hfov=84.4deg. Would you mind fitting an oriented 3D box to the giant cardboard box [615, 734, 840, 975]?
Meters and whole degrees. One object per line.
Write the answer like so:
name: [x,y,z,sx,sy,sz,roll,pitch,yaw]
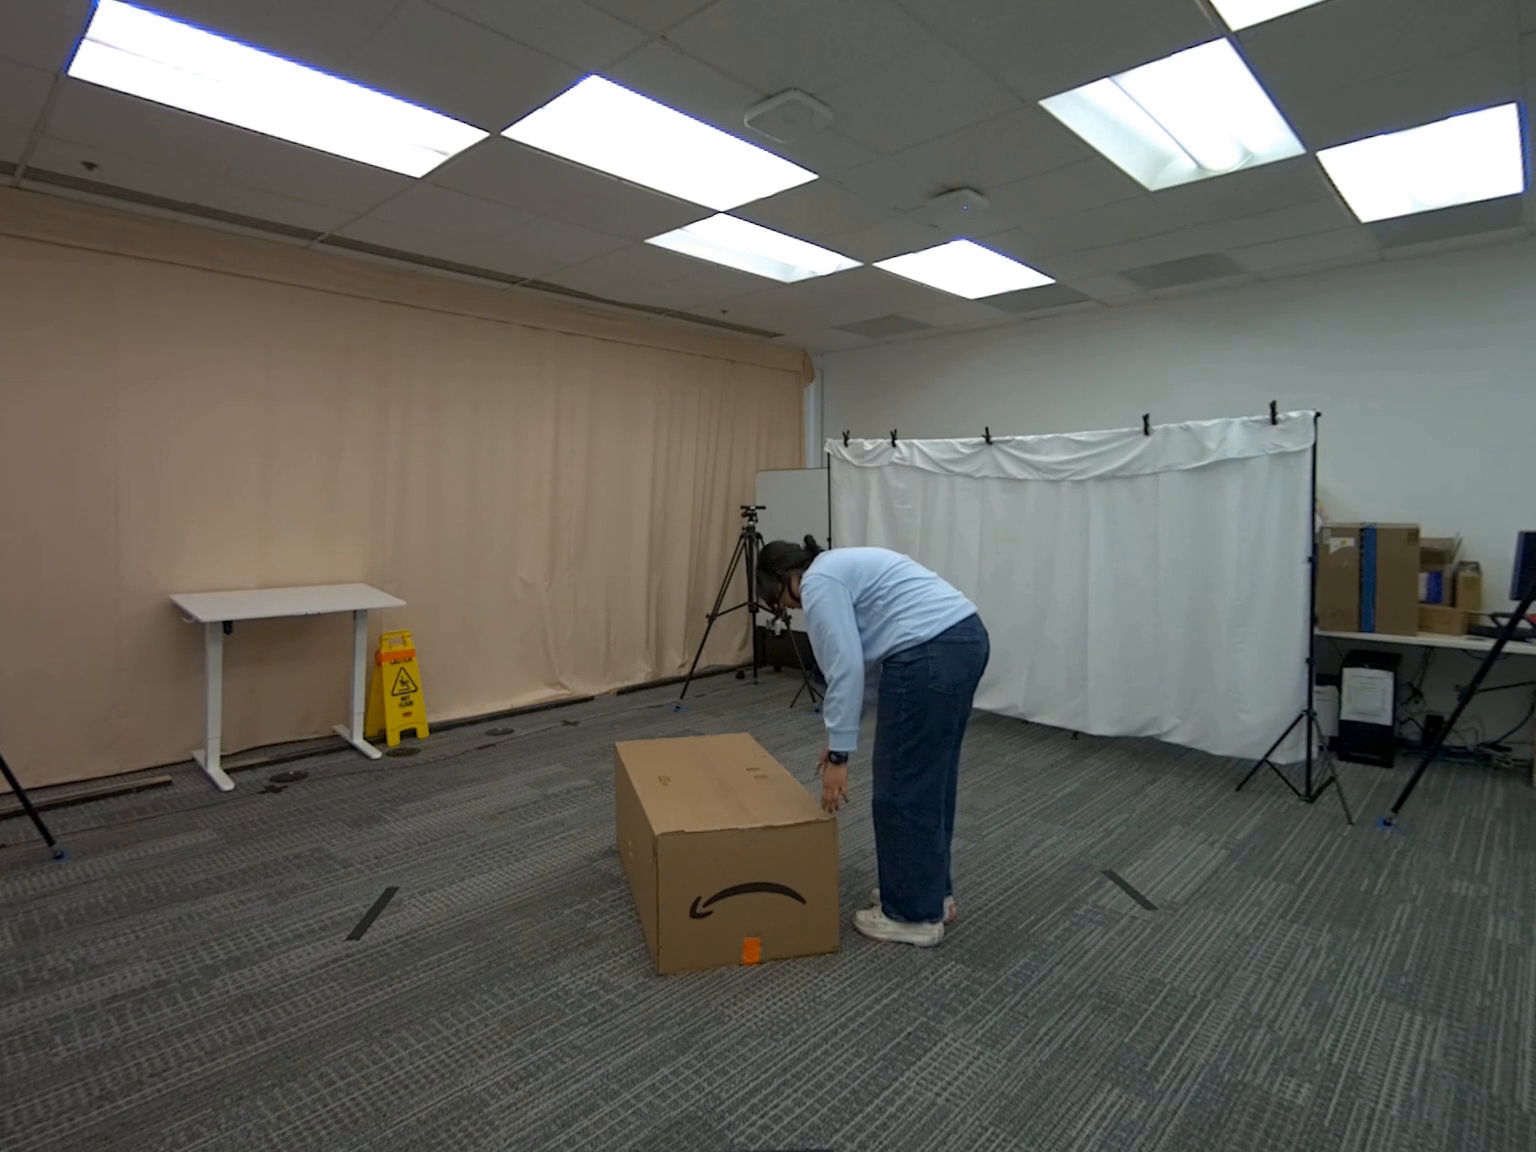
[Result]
giant cardboard box: [-0.204,0.927,3.043,0.568,0.425,1.044,-1,5,-16]
